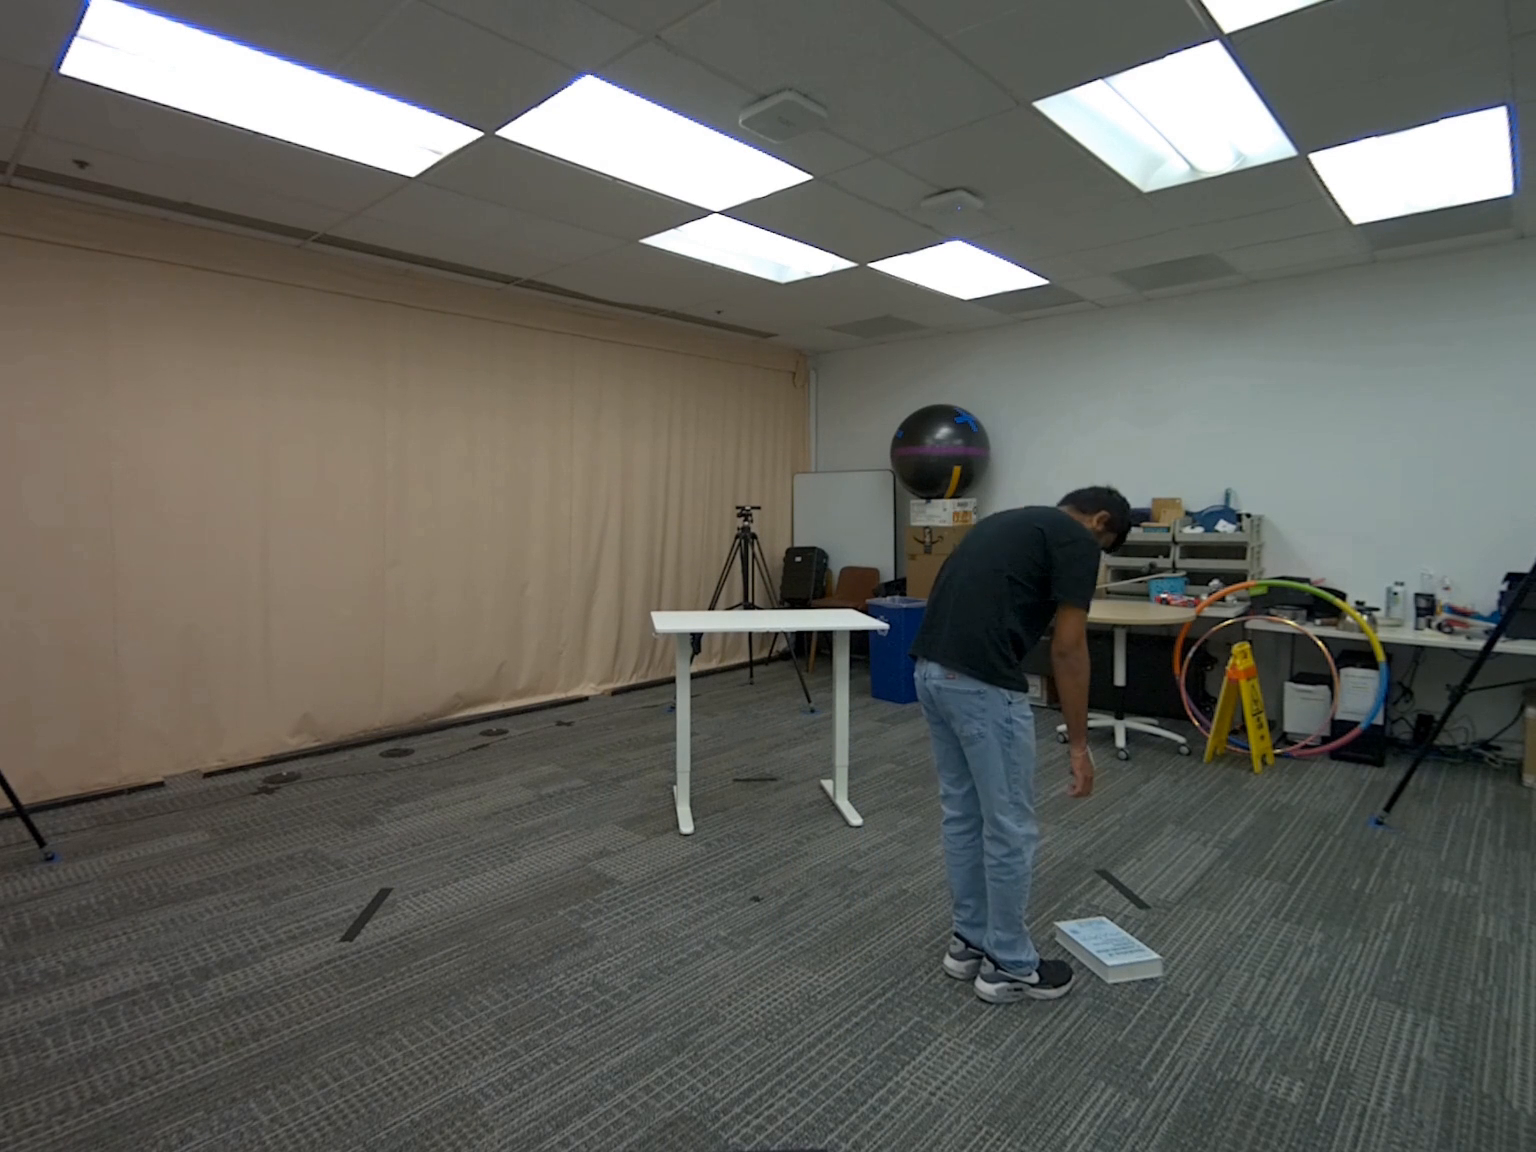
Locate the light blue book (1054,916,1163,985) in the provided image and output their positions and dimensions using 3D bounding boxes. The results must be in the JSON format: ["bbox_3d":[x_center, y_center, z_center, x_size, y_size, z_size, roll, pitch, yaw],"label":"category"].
[{"bbox_3d":[1.052,1.151,2.575,0.188,0.059,0.265,-2,4,-15],"label":"light blue book"}]
